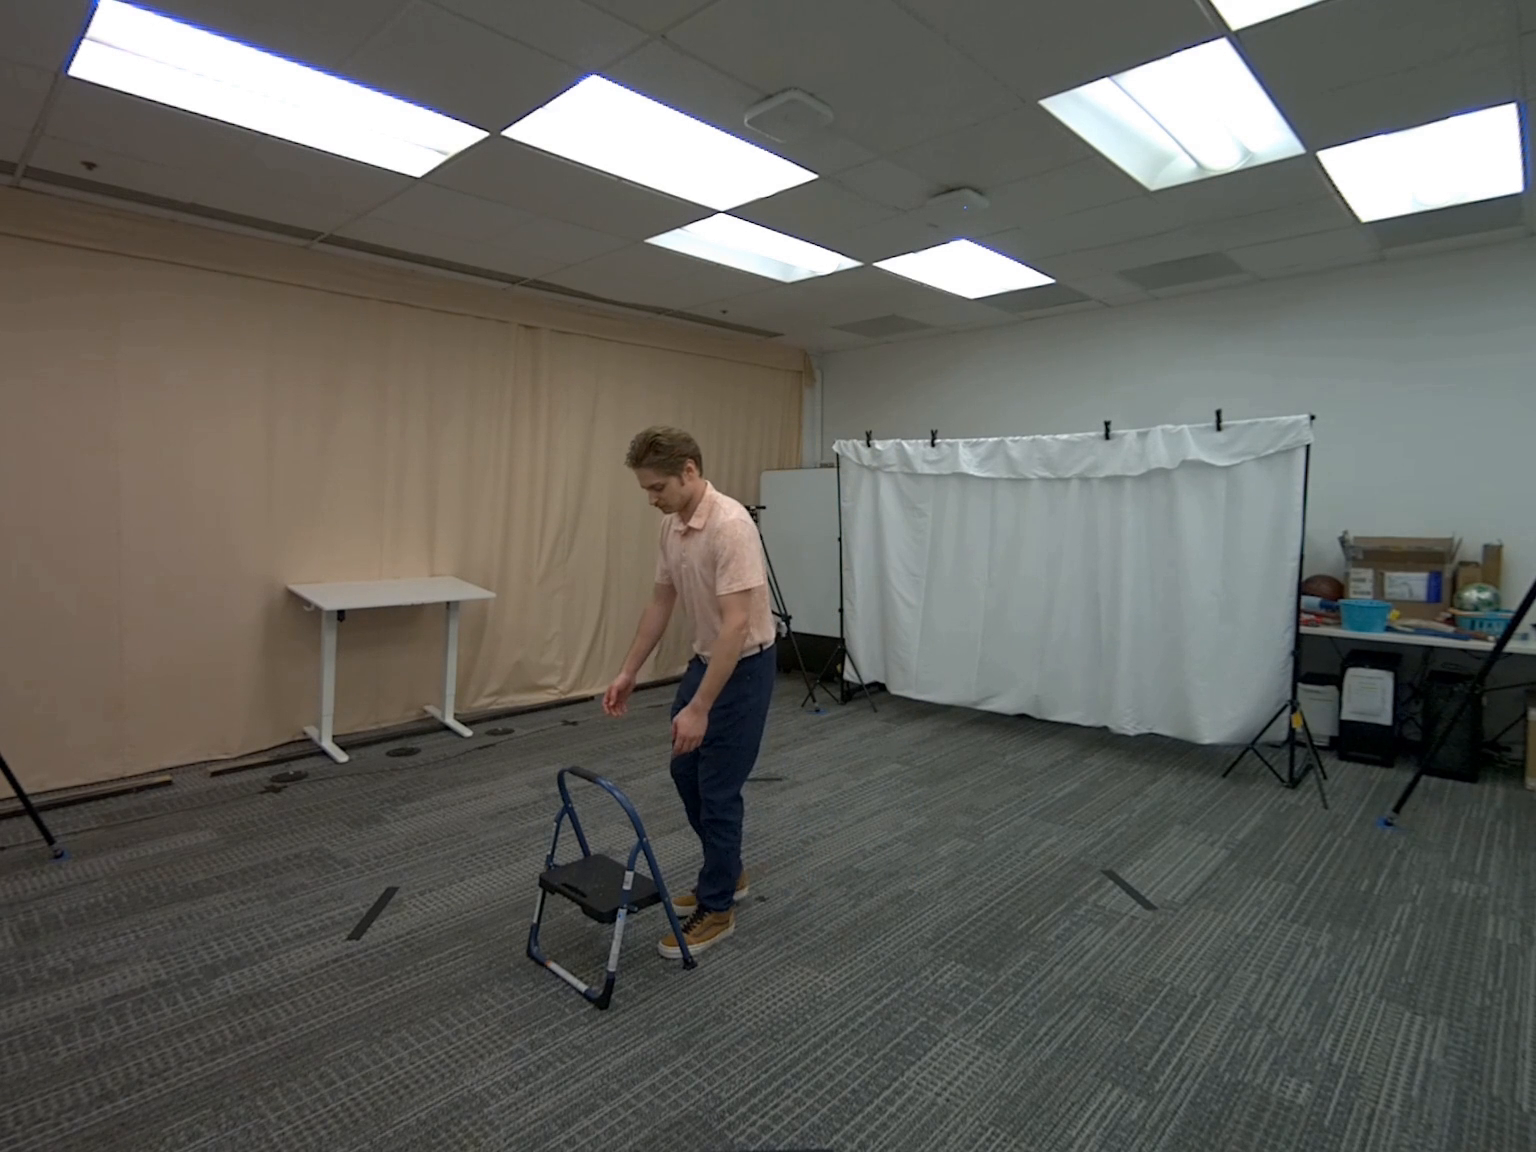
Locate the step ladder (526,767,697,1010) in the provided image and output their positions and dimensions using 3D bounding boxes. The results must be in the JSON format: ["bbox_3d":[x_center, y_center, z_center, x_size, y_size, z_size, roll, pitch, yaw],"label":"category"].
[{"bbox_3d":[-0.491,0.888,2.566,0.445,0.605,0.338,2,4,44],"label":"step ladder"}]
